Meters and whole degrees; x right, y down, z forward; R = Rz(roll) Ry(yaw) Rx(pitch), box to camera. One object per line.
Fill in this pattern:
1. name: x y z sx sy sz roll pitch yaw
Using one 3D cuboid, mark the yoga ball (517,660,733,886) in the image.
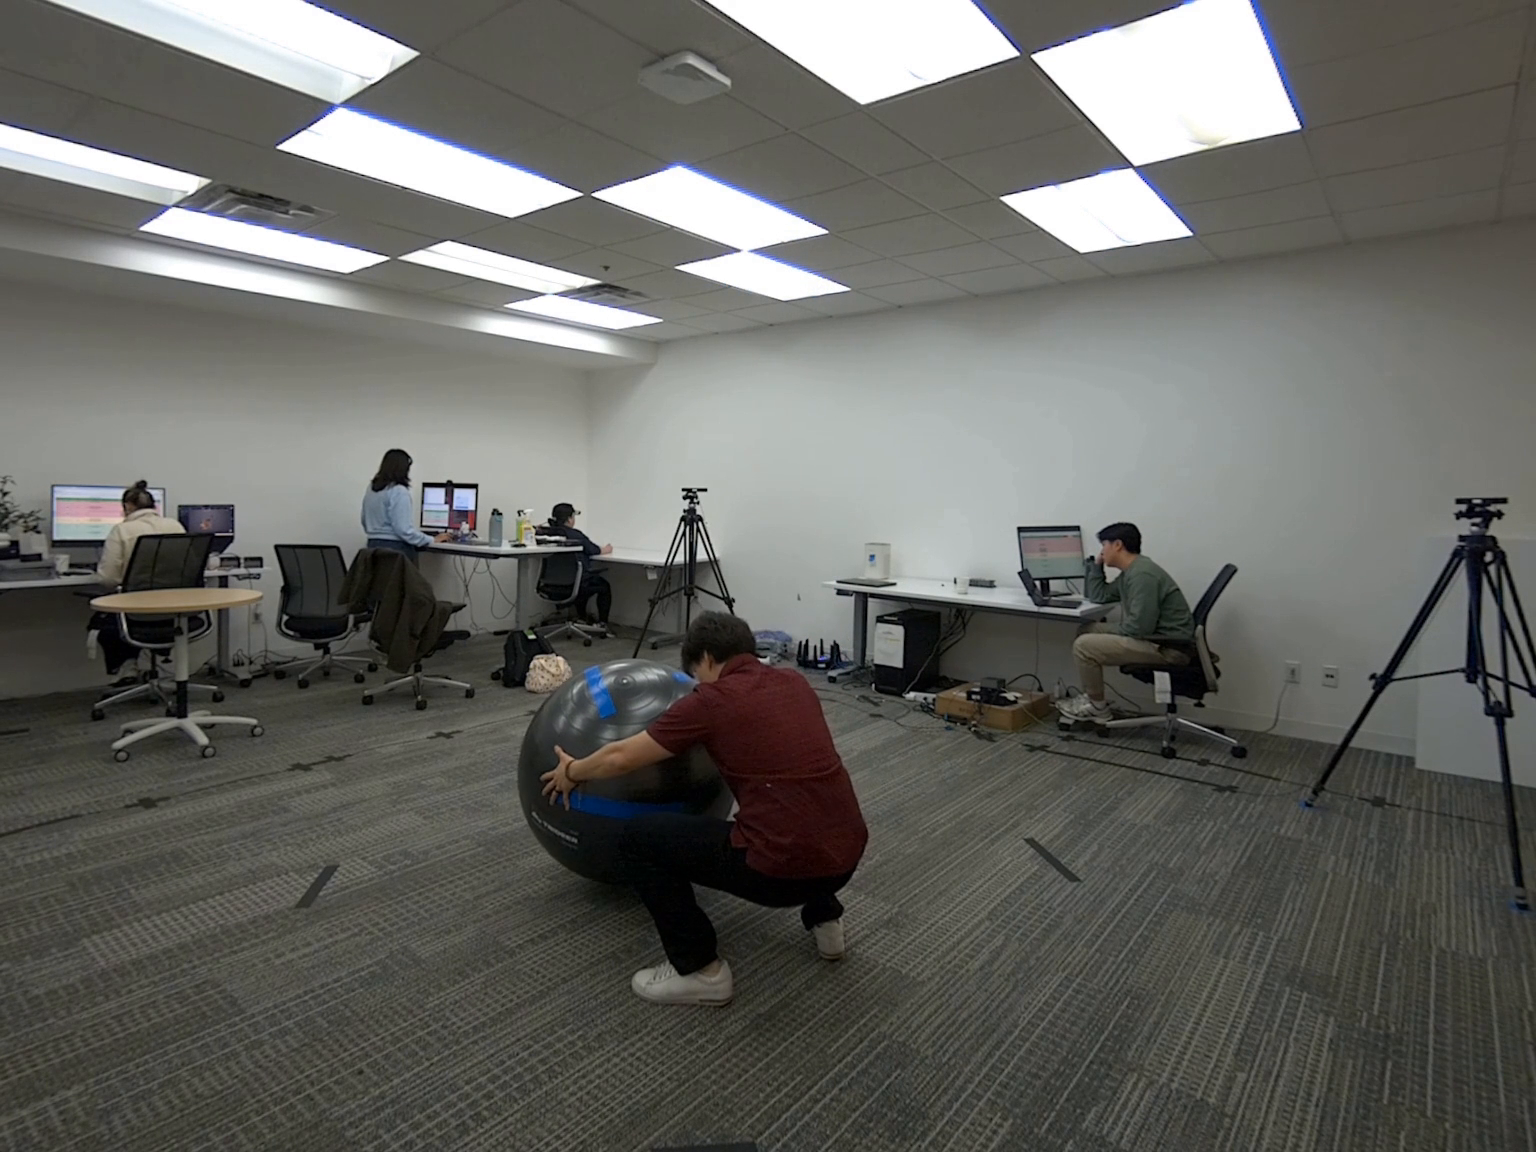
1. yoga ball: -0.500 0.680 2.967 0.757 0.756 0.762 1 4 -2
